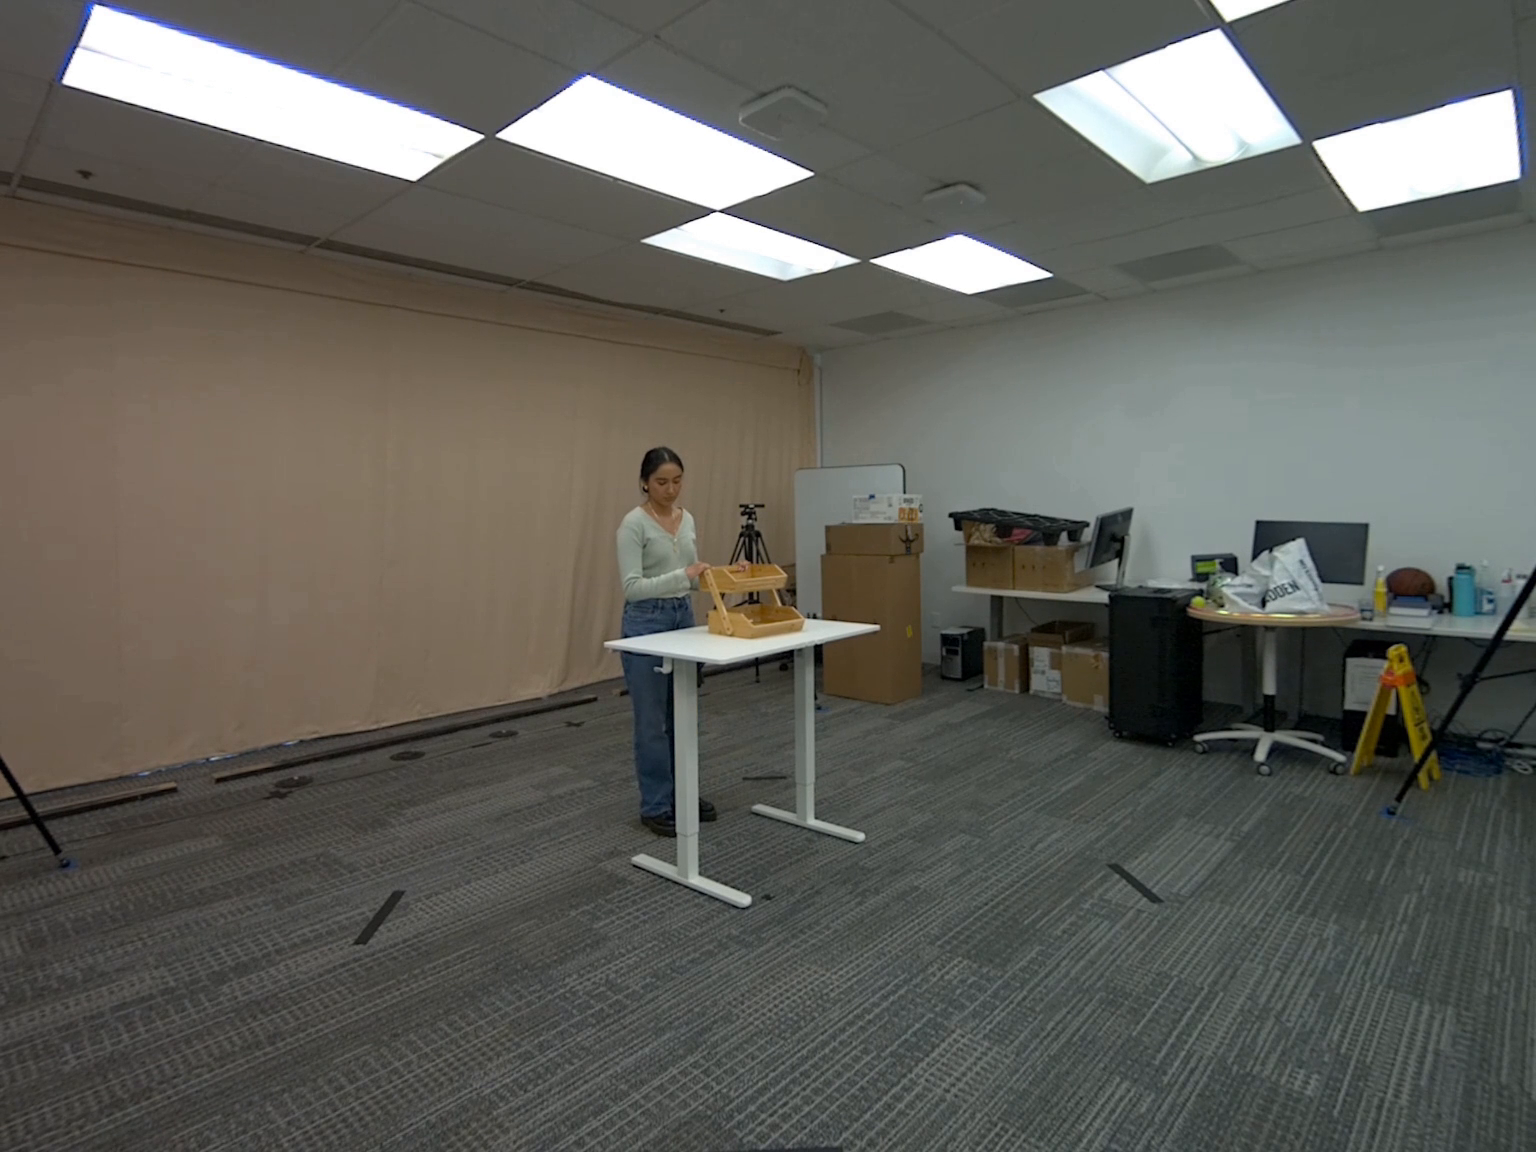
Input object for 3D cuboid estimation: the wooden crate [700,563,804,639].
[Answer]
[{"bbox_3d":[-0.061,0.093,3.386,0.314,0.273,0.312,-4,5,-45],"label":"wooden crate"}]
